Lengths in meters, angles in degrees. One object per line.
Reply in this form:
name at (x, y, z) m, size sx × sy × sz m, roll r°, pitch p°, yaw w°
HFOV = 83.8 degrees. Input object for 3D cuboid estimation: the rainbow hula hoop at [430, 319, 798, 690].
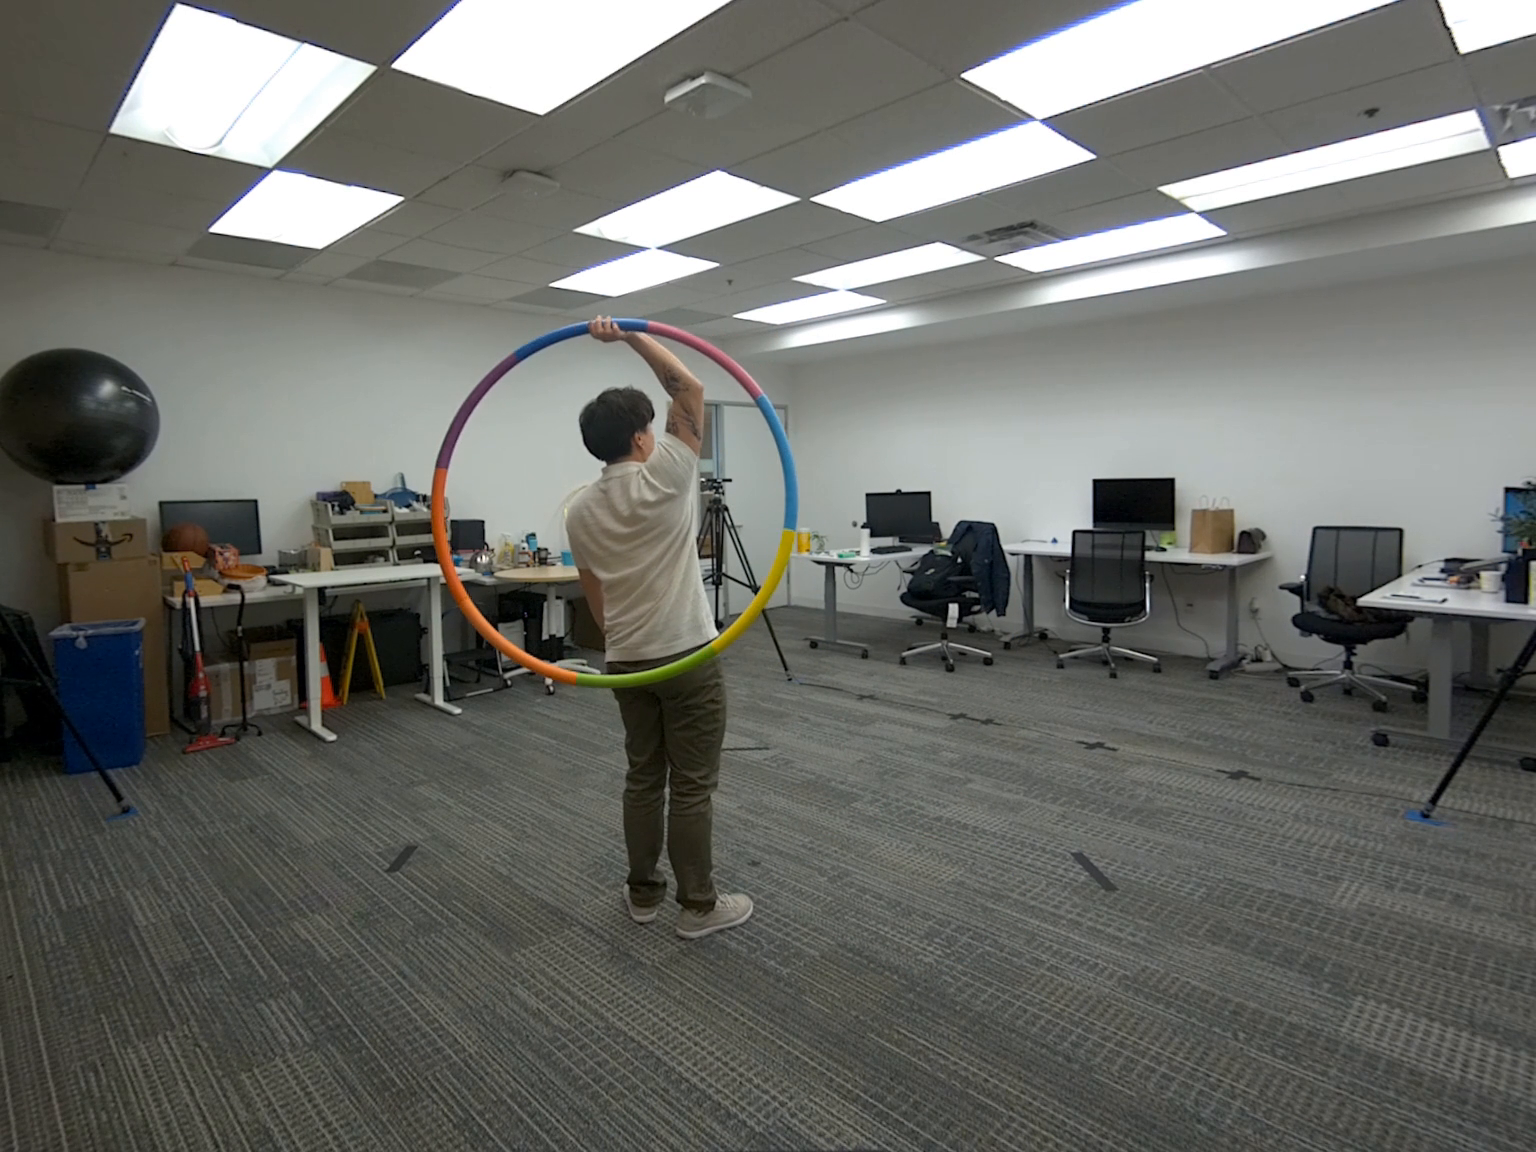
rainbow hula hoop at (-0.410, -0.205, 2.283) m, size 0.978 × 0.984 × 0.035 m, roll -1°, pitch -6°, yaw 0°
